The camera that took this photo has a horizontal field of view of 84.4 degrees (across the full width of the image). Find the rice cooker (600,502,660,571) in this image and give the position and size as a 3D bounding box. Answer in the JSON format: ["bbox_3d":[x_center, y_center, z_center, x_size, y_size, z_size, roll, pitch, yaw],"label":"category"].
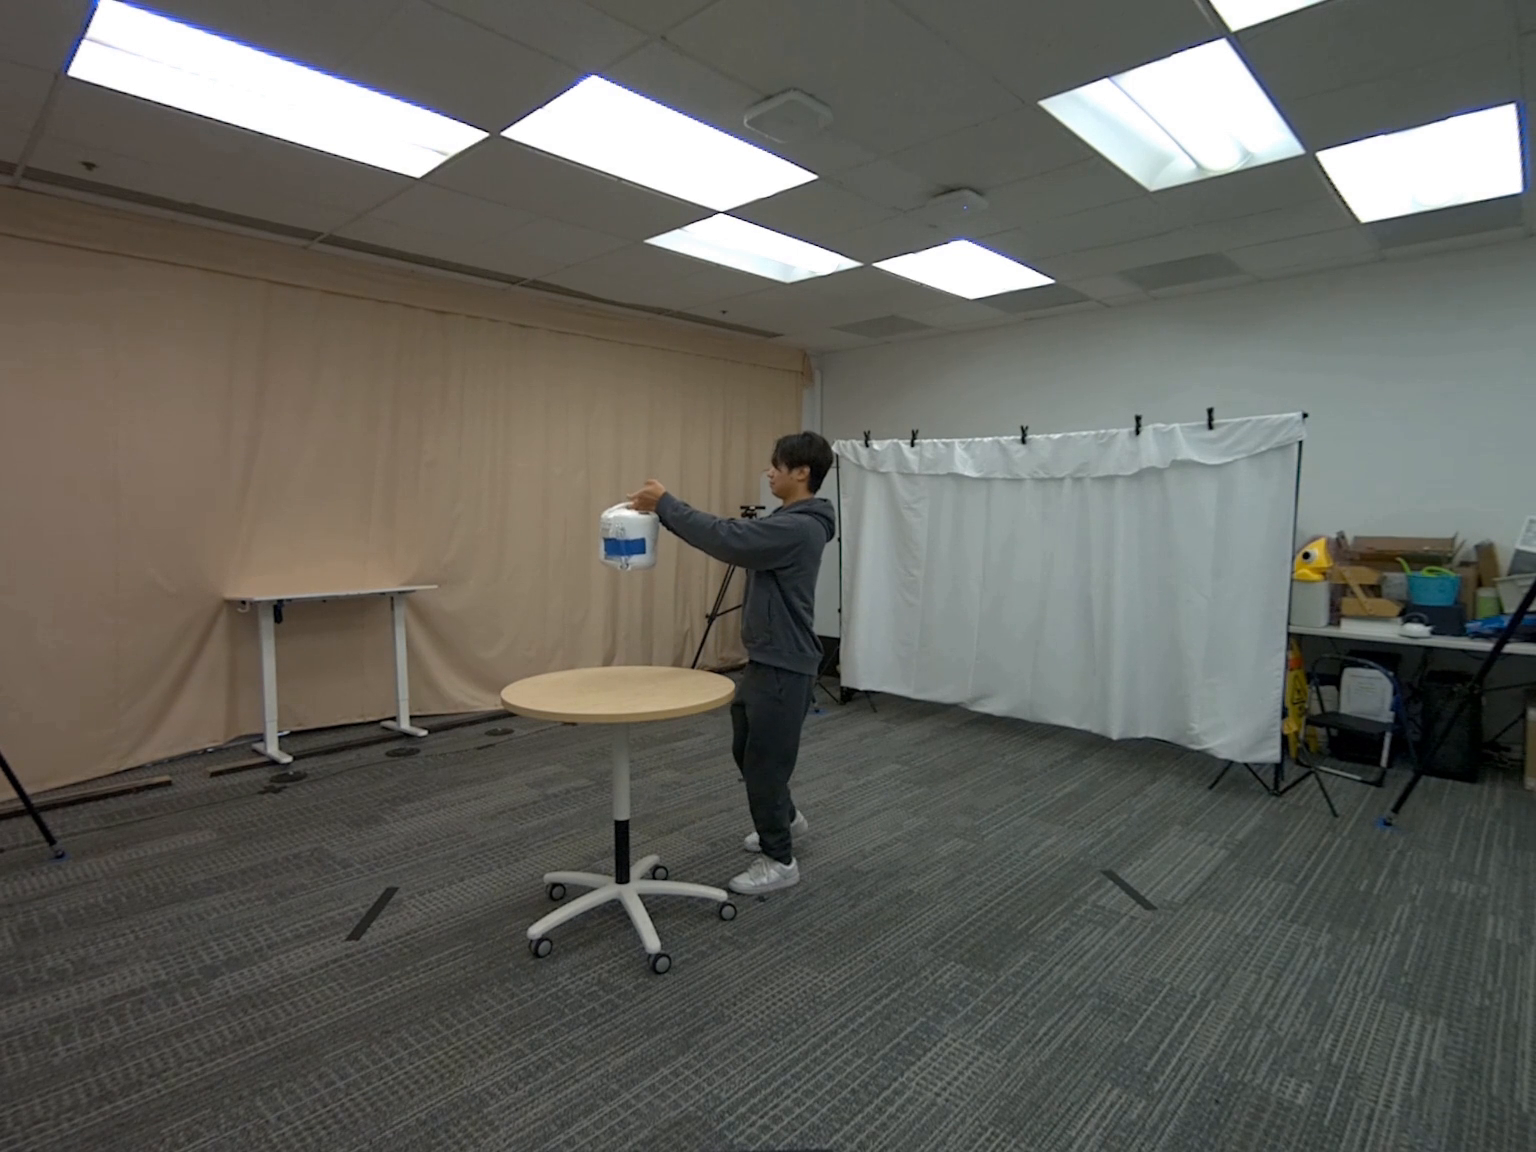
[{"bbox_3d":[-0.492,-0.147,2.997,0.213,0.232,0.225,0,7,-43],"label":"rice cooker"}]
